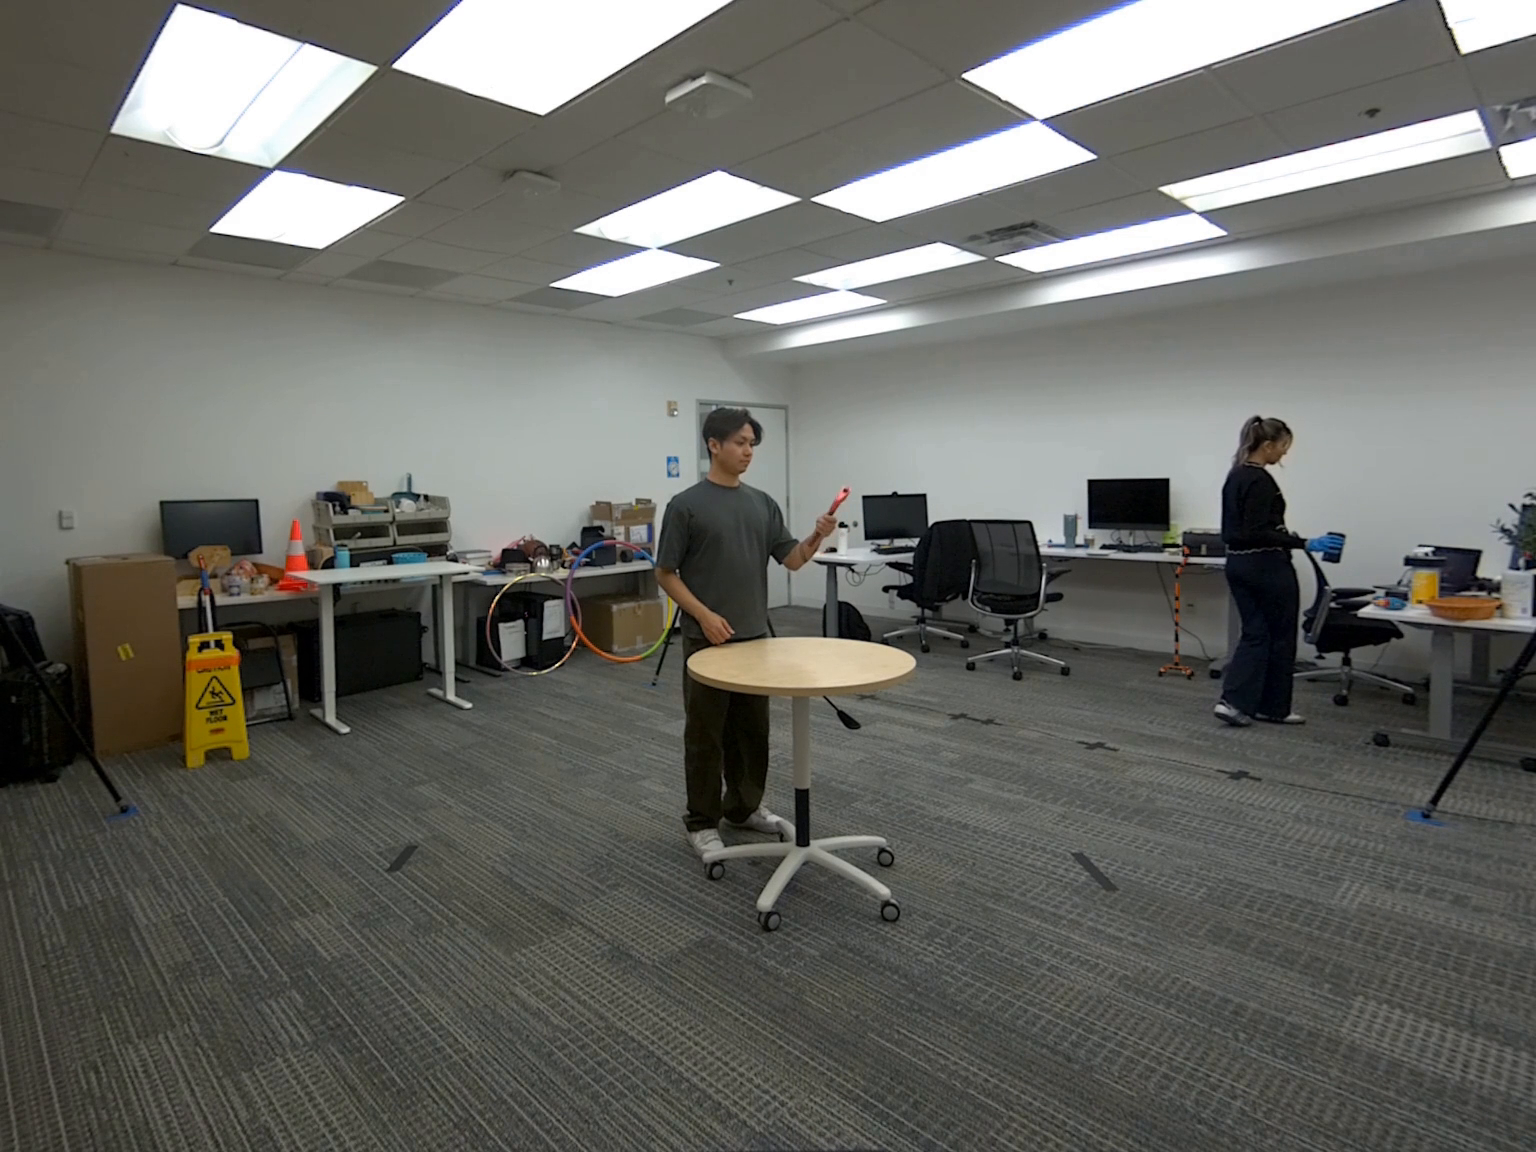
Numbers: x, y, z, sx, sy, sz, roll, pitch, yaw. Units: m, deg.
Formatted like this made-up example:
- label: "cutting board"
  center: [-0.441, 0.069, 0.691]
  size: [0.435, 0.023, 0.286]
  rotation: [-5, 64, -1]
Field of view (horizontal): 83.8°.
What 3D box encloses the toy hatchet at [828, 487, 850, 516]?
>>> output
- label: "toy hatchet"
  center: [0.217, -0.208, 3.047]
  size: [0.030, 0.269, 0.131]
  rotation: [35, 22, 1]
